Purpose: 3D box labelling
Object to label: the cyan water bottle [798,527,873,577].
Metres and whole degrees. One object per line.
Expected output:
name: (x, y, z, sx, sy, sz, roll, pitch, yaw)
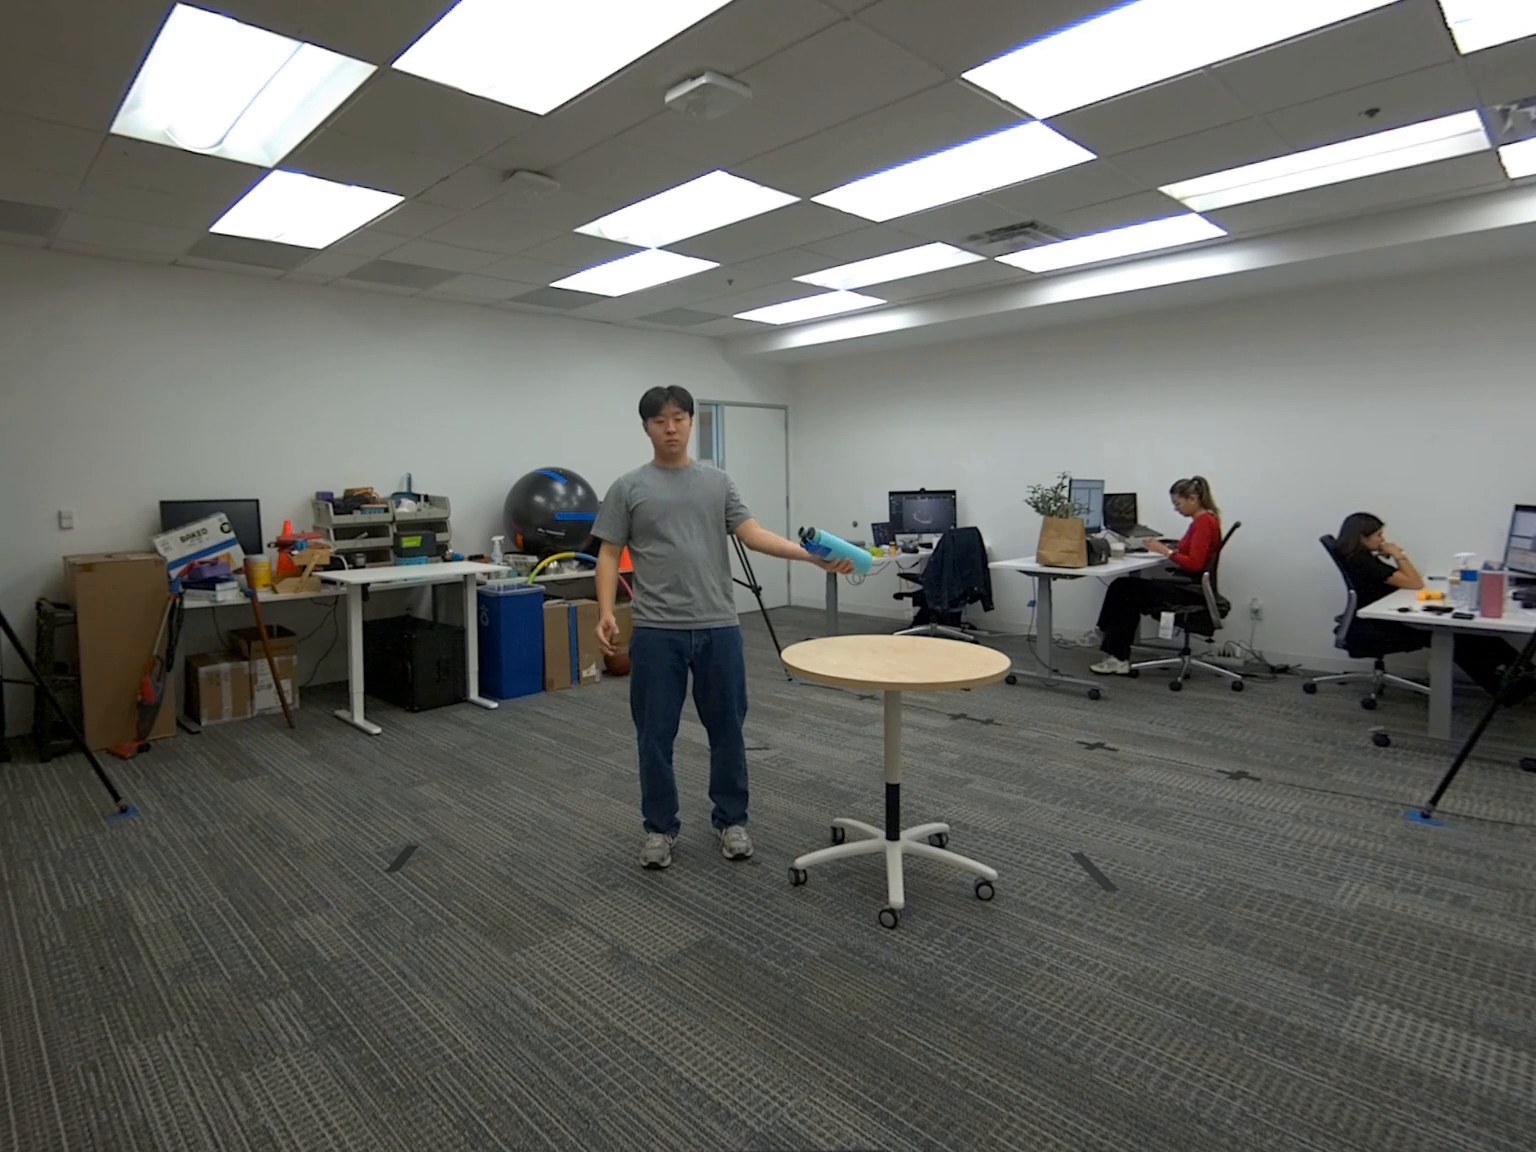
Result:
cyan water bottle: (0.223, -0.108, 2.916, 0.275, 0.092, 0.094, 22, -6, -25)
